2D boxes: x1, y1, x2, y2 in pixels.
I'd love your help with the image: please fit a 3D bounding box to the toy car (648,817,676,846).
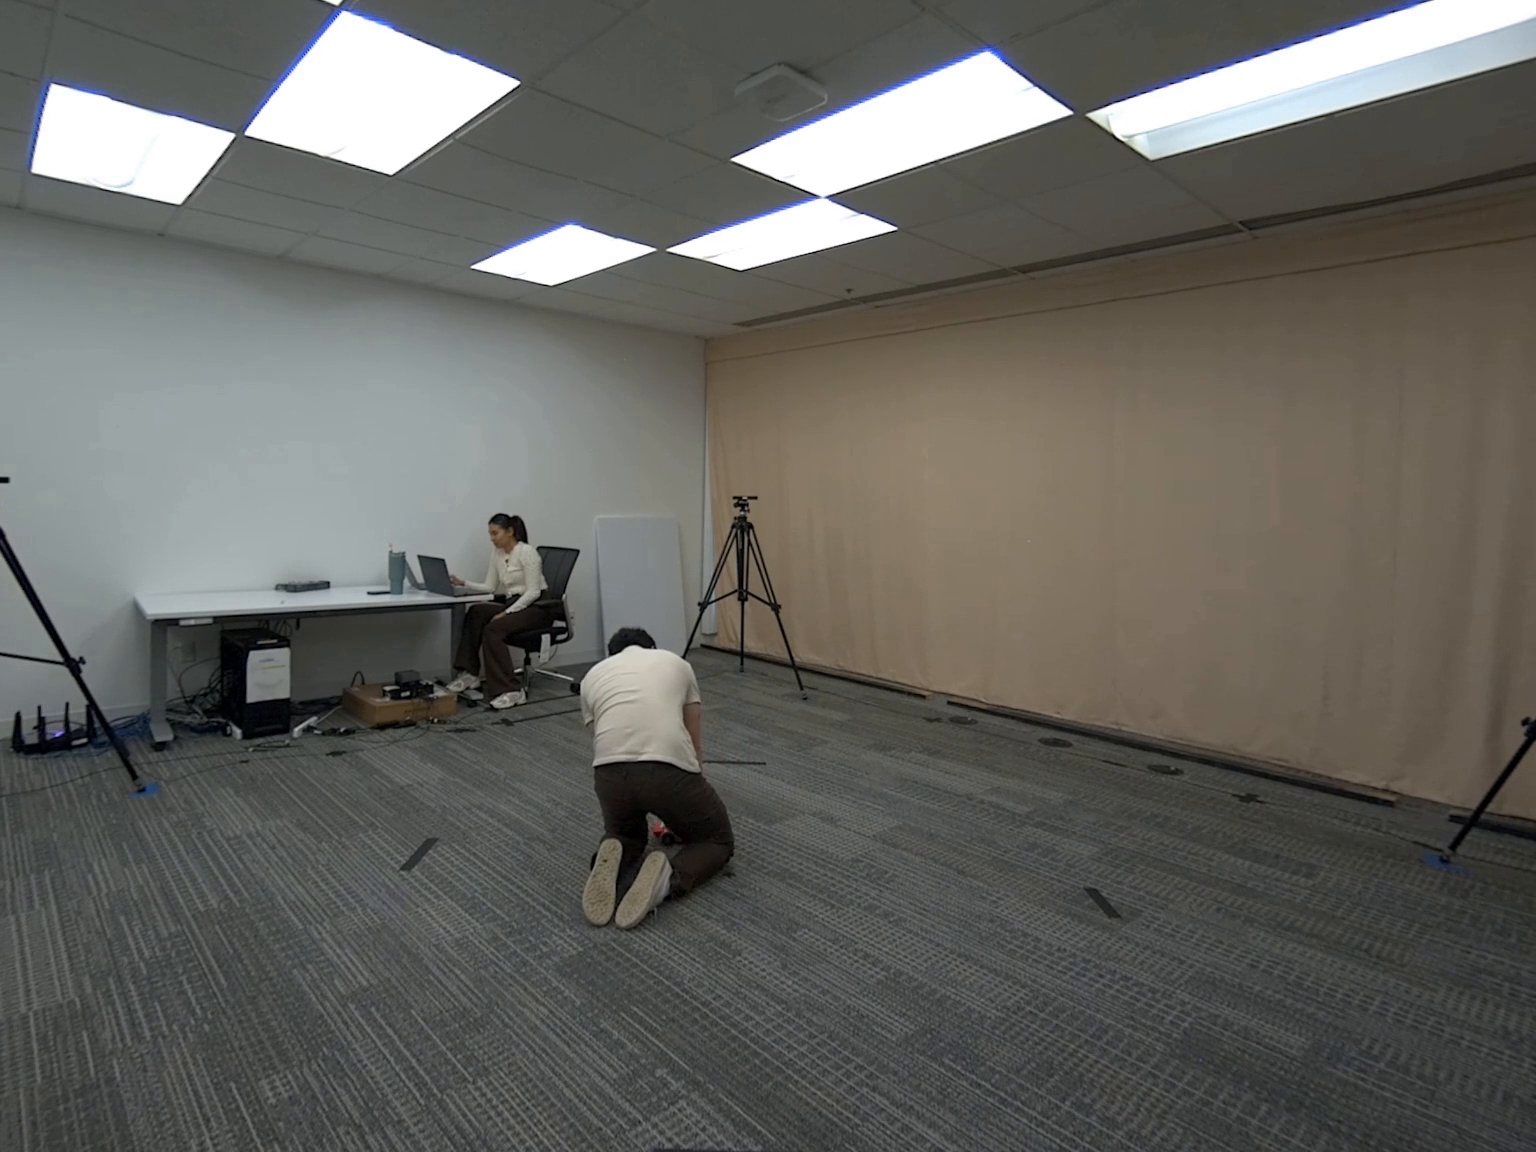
[{"bbox_3d":[-0.347,1.044,3.411,0.255,0.083,0.130,13,4,2],"label":"toy car"}]
